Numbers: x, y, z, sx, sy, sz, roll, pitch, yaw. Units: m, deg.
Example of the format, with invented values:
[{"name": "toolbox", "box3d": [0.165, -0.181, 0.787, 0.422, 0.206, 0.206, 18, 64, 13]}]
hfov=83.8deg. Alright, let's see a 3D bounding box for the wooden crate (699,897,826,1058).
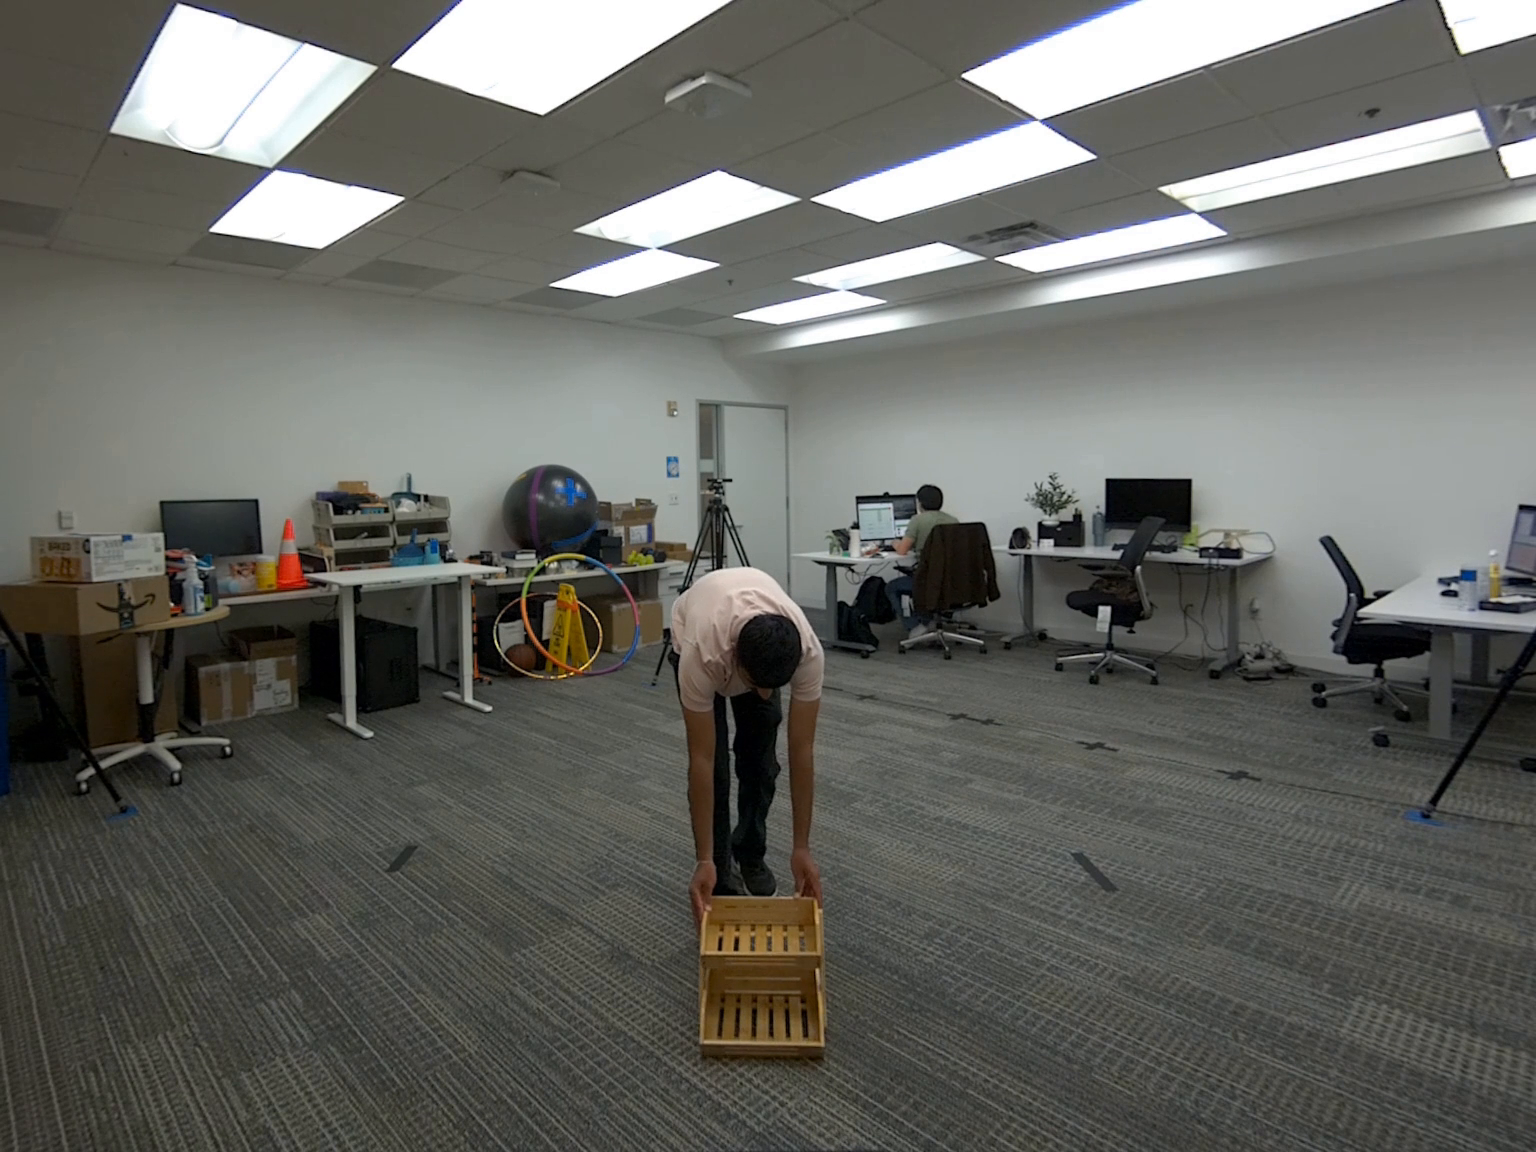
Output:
[{"name": "wooden crate", "box3d": [-0.008, 1.023, 2.186, 0.325, 0.272, 0.302, -1, 5, 2]}]
